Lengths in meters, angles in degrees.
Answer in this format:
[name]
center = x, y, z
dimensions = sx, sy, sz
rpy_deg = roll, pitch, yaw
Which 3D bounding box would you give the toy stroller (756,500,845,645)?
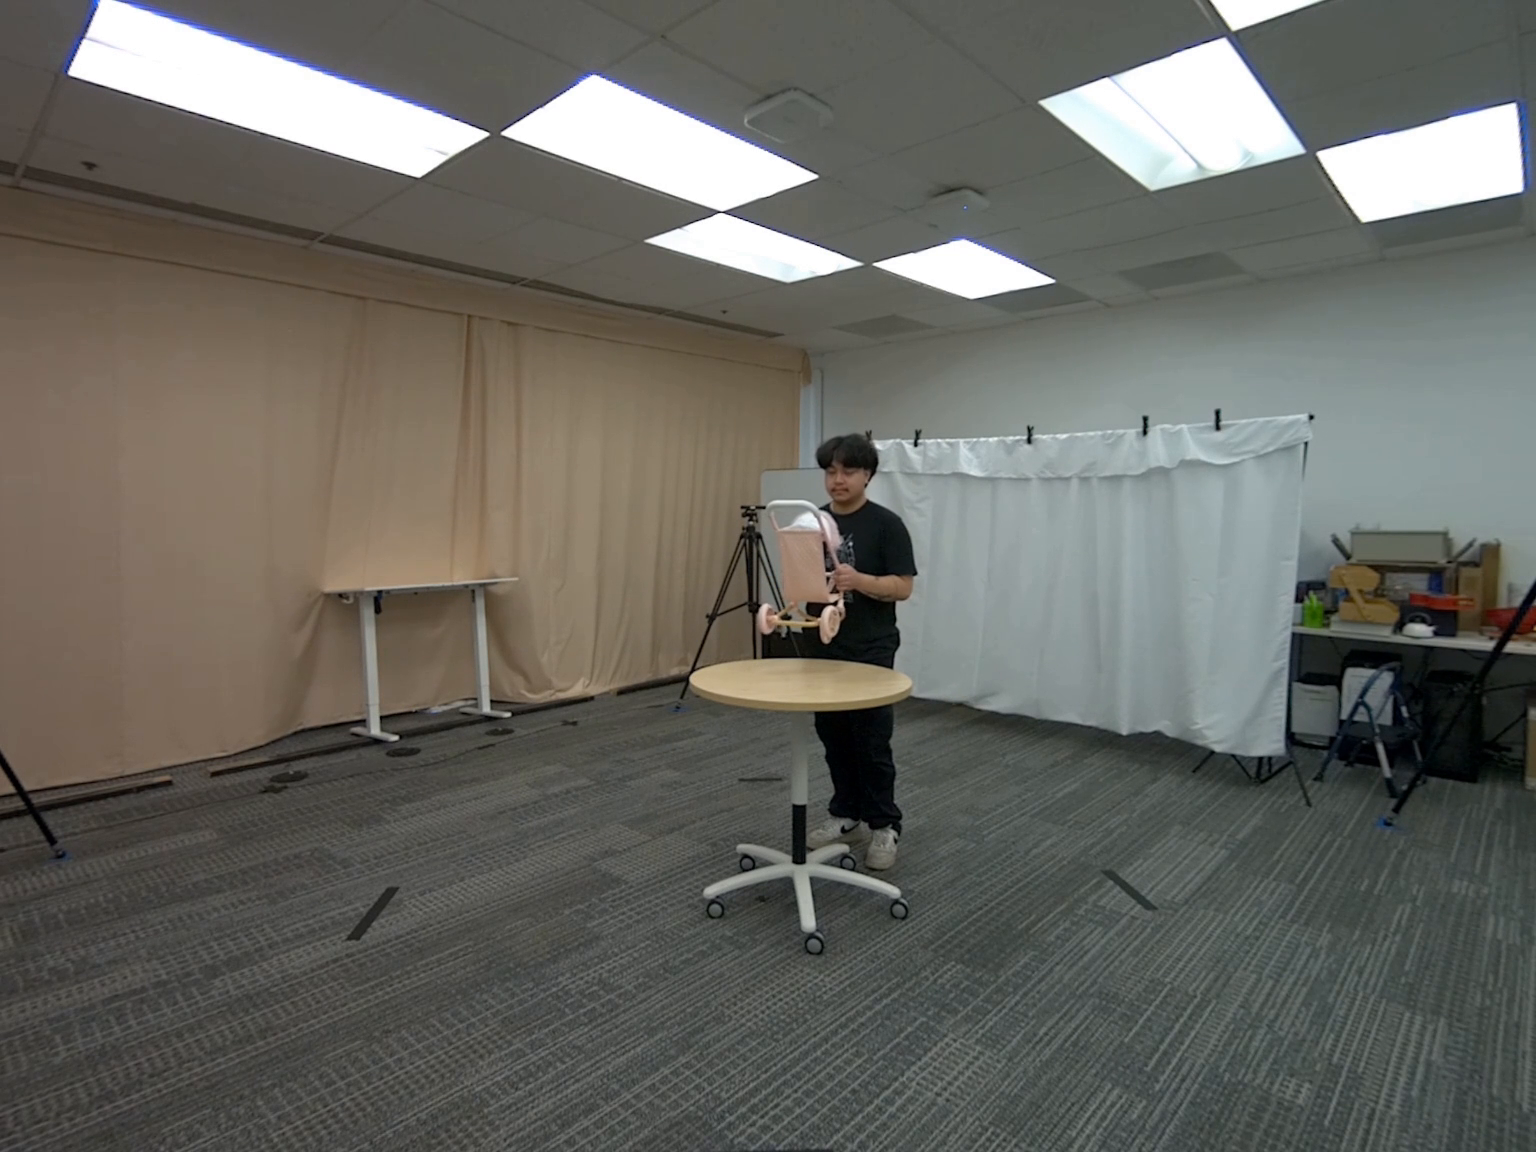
[toy stroller]
center = 0.165, -0.001, 3.071
dimensions = 0.290, 0.535, 0.331
rpy_deg = -1, 1, 34
